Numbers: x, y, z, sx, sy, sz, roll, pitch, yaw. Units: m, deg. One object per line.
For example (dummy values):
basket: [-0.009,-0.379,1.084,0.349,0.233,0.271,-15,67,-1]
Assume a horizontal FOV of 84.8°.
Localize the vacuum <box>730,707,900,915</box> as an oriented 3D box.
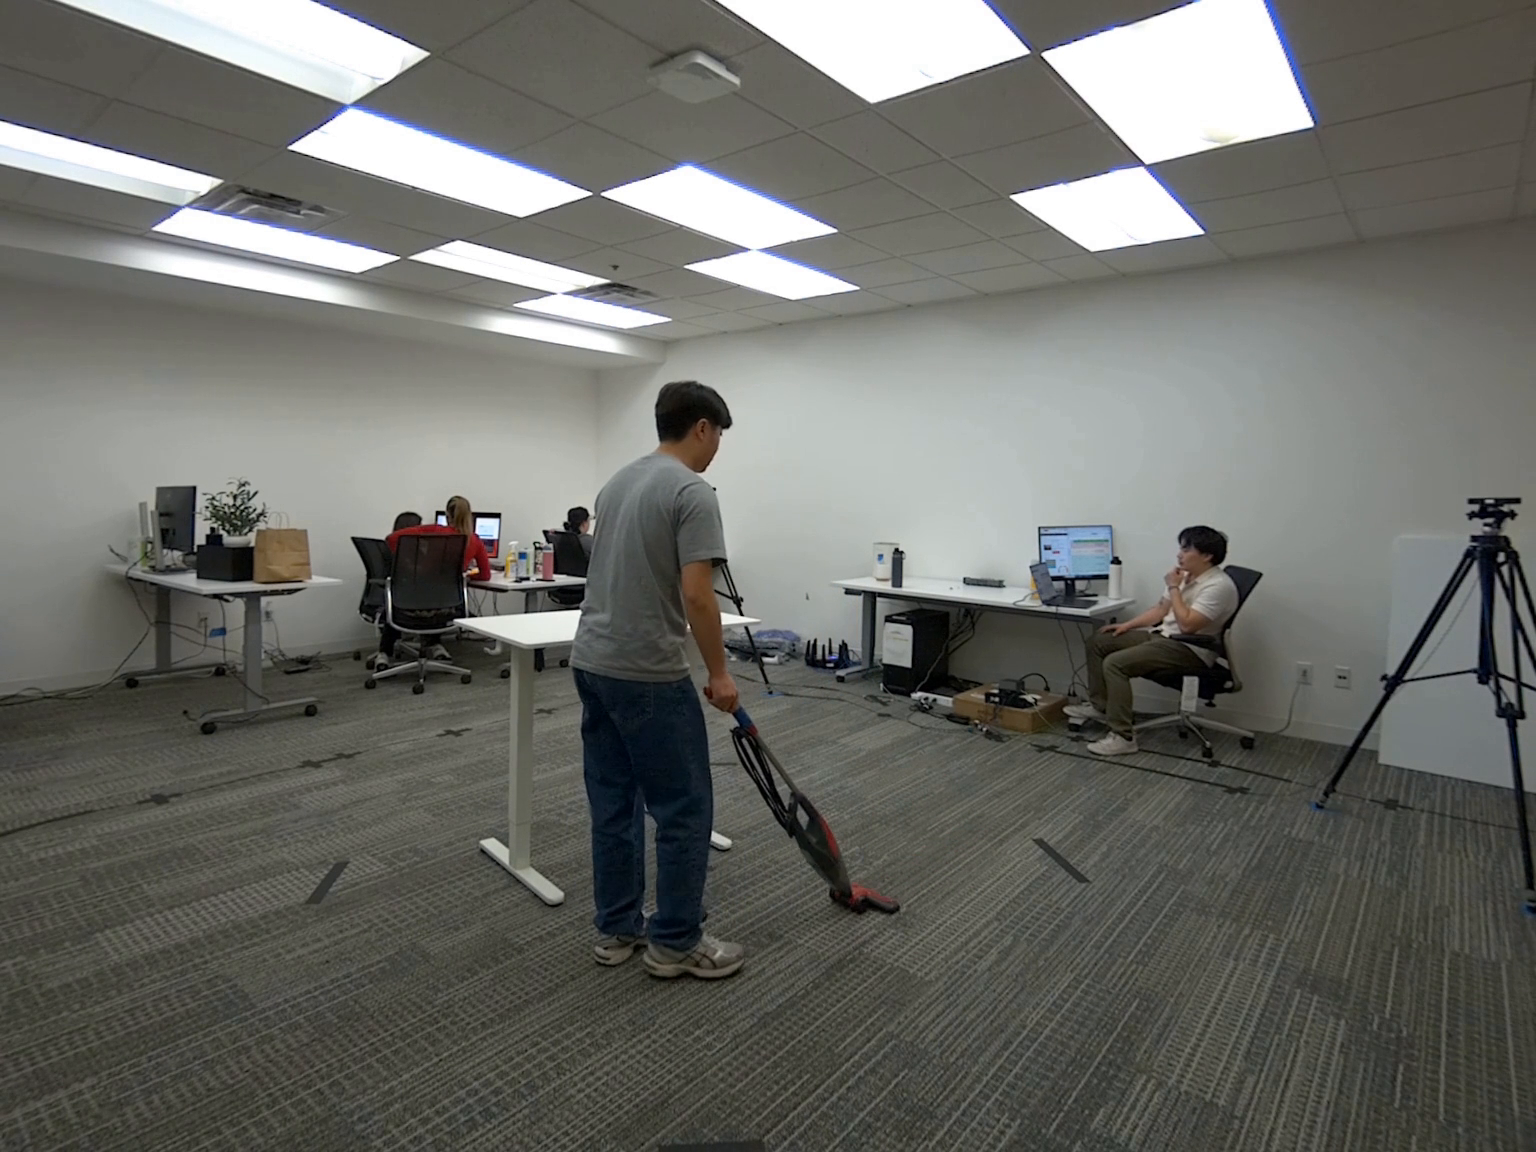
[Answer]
vacuum: [0.072,0.716,2.651,0.261,1.015,0.144,3,43,48]
